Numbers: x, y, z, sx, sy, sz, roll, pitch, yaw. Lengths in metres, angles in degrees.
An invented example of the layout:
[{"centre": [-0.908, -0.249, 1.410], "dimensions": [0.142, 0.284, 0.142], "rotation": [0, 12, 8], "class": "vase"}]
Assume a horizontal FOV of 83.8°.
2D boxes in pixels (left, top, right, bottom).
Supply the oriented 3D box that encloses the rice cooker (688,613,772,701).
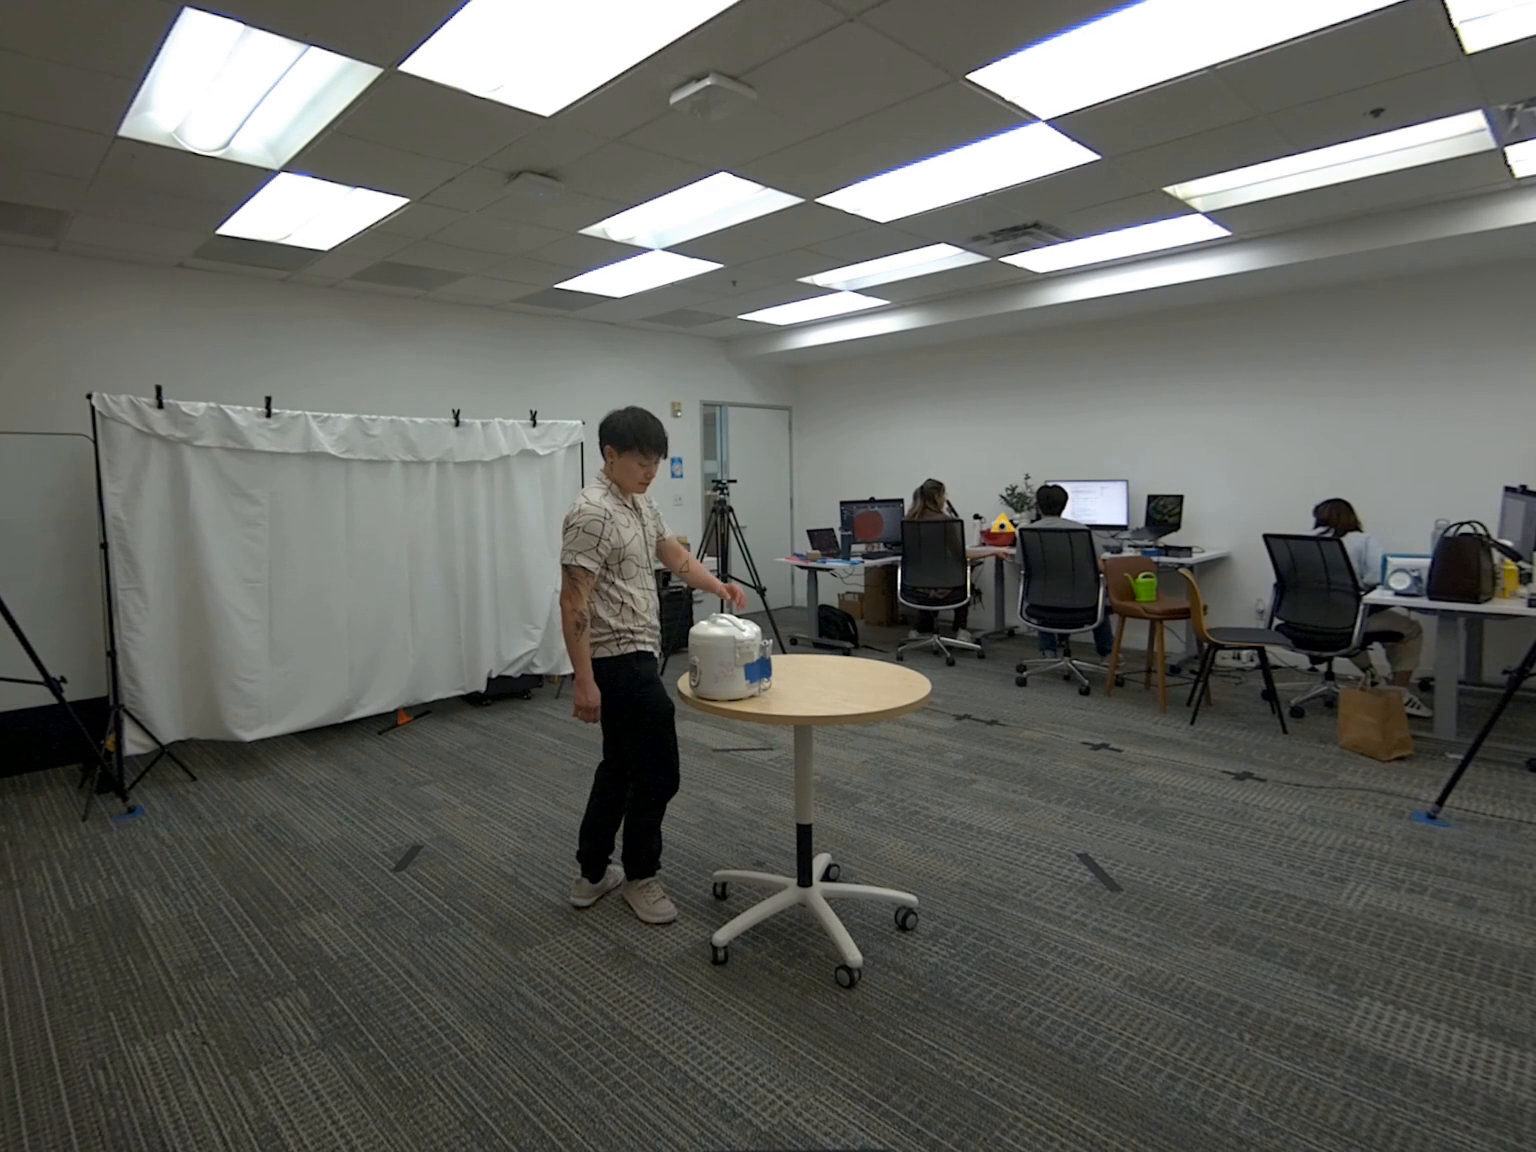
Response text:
[{"centre": [-0.122, 0.224, 2.451], "dimensions": [0.212, 0.232, 0.226], "rotation": [-4, 3, -33], "class": "rice cooker"}]
